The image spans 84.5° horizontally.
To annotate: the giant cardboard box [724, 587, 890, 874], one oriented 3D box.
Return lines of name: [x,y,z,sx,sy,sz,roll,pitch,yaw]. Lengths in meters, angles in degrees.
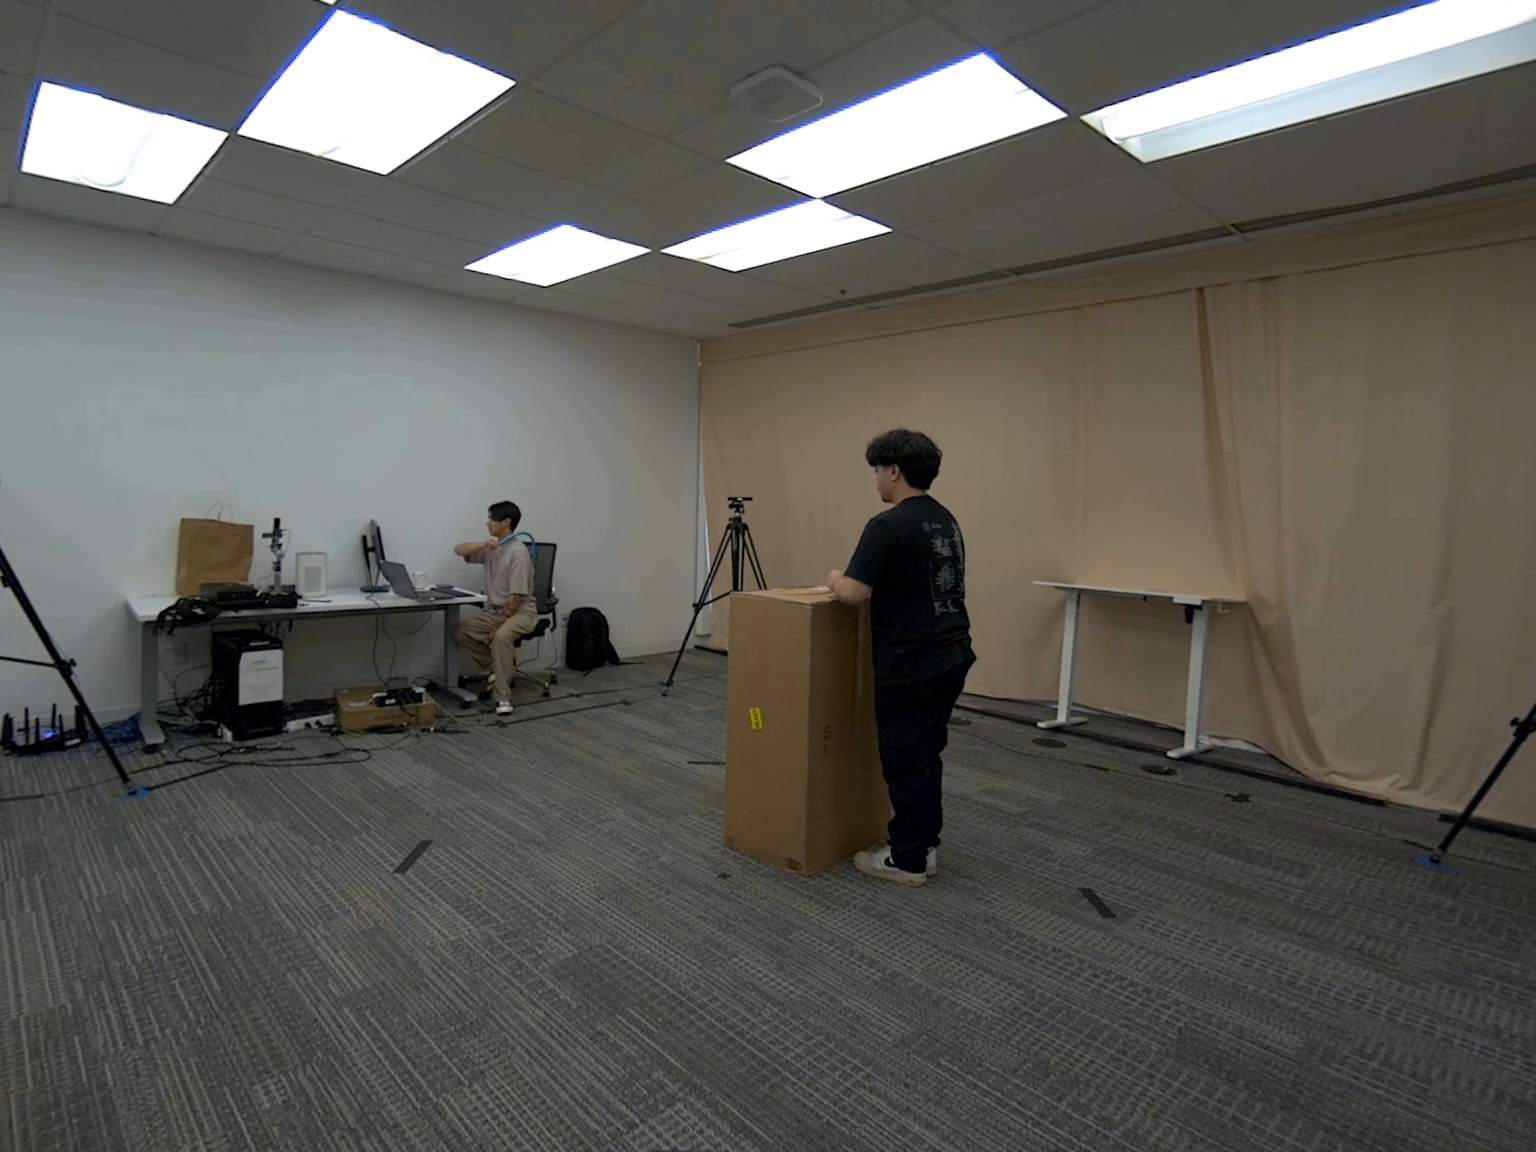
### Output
giant cardboard box: [0.169,0.576,3.437,0.458,1.025,0.570,3,3,44]
